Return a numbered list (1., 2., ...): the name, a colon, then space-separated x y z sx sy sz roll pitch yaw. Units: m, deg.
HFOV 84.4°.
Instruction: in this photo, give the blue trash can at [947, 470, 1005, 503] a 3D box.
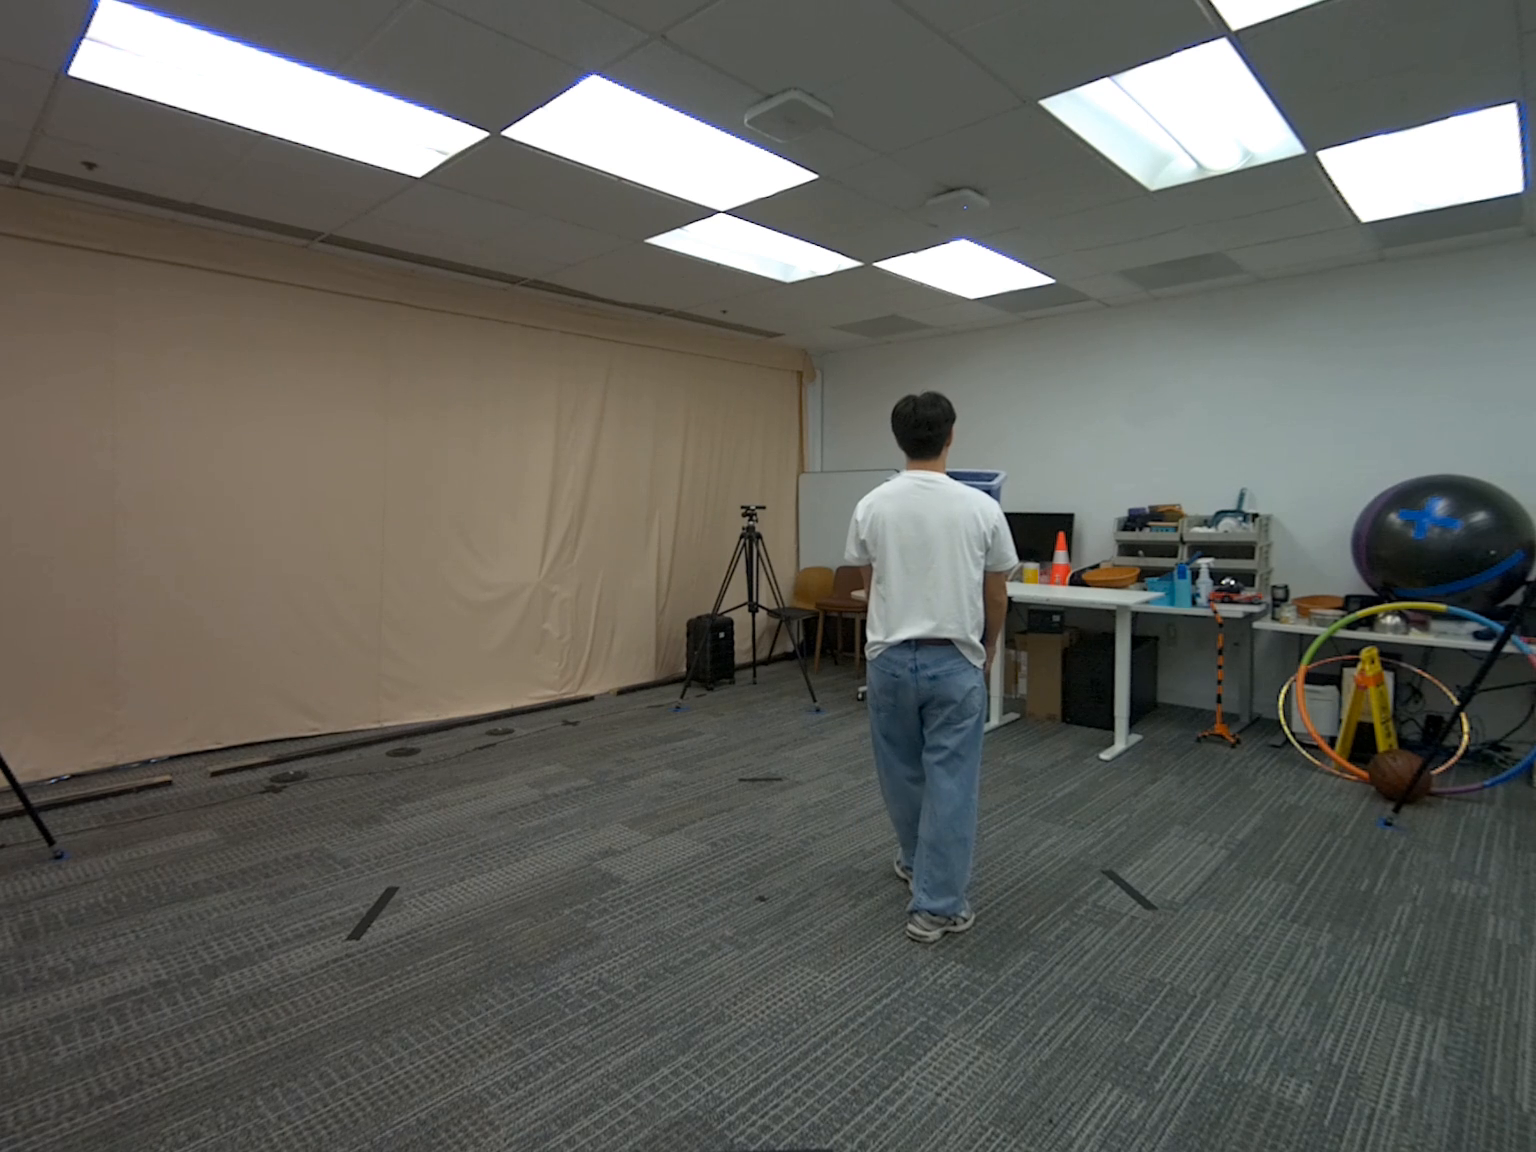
1. blue trash can: 0.649 -0.016 3.038 0.383 0.708 0.372 4 13 22
